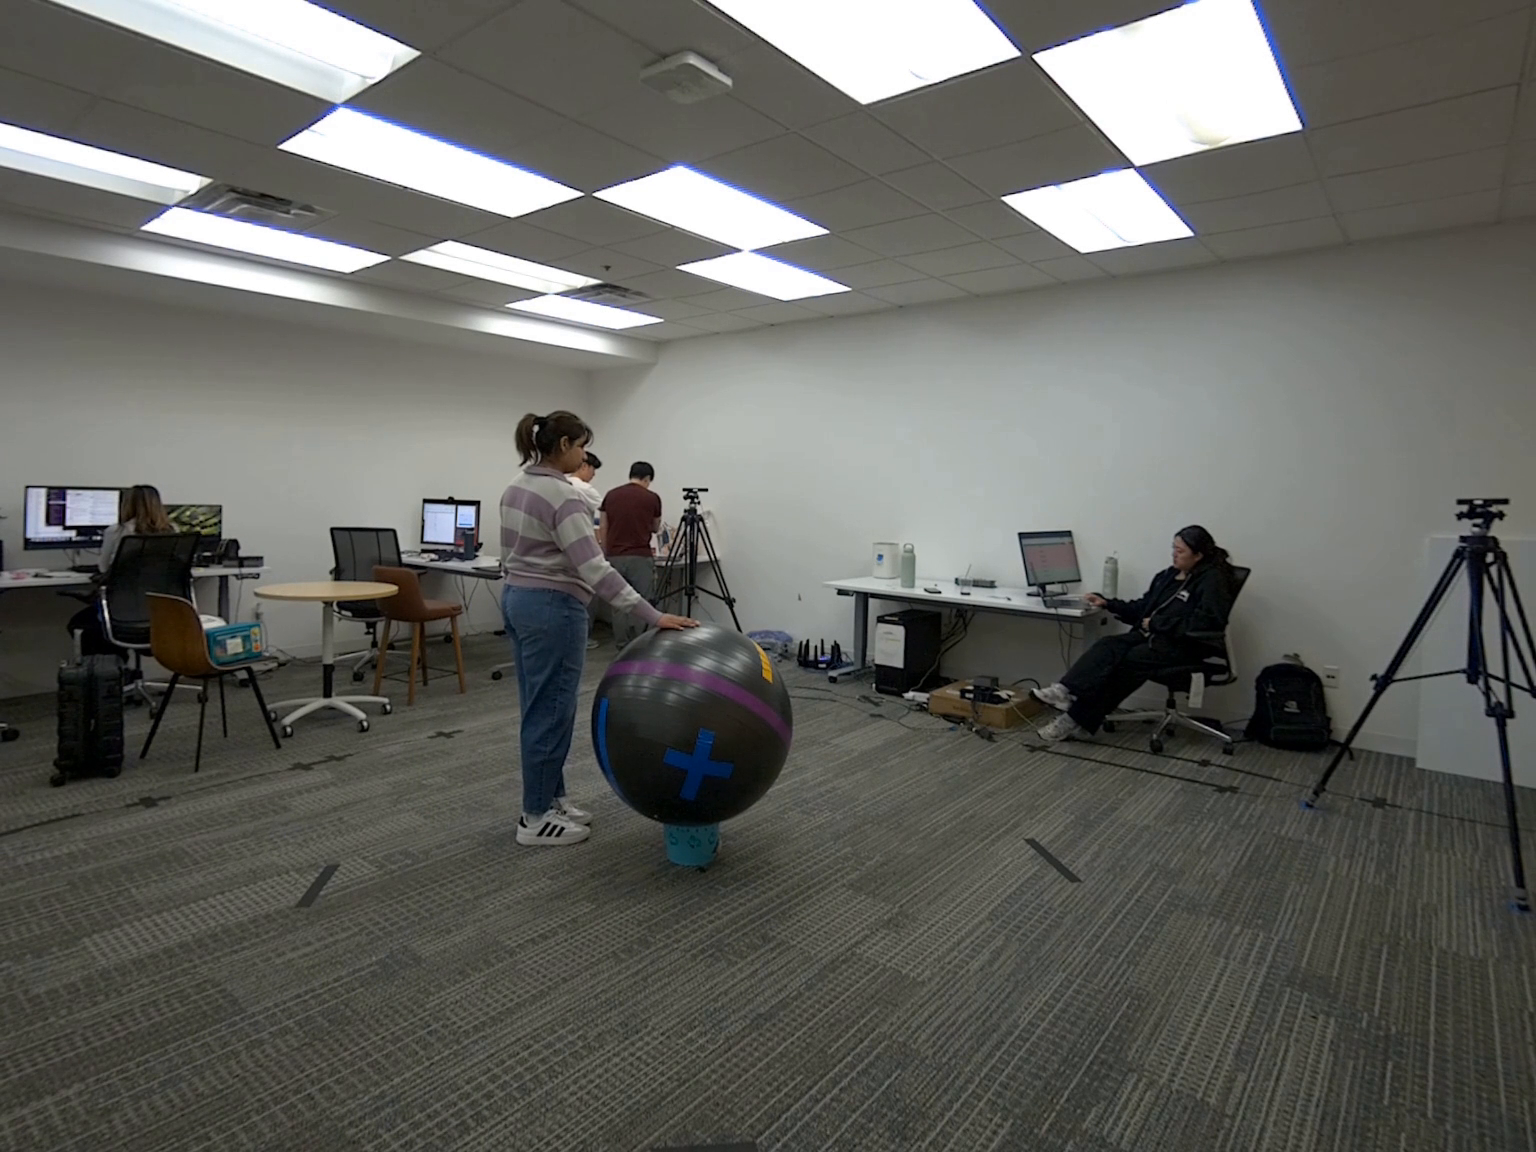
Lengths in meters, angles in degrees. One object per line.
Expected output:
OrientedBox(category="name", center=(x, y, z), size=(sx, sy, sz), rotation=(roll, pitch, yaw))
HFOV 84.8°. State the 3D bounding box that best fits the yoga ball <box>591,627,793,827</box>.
OrientedBox(category="yoga ball", center=(-0.295, 0.548, 3.204), size=(0.757, 0.756, 0.762), rotation=(1, 4, -2))
